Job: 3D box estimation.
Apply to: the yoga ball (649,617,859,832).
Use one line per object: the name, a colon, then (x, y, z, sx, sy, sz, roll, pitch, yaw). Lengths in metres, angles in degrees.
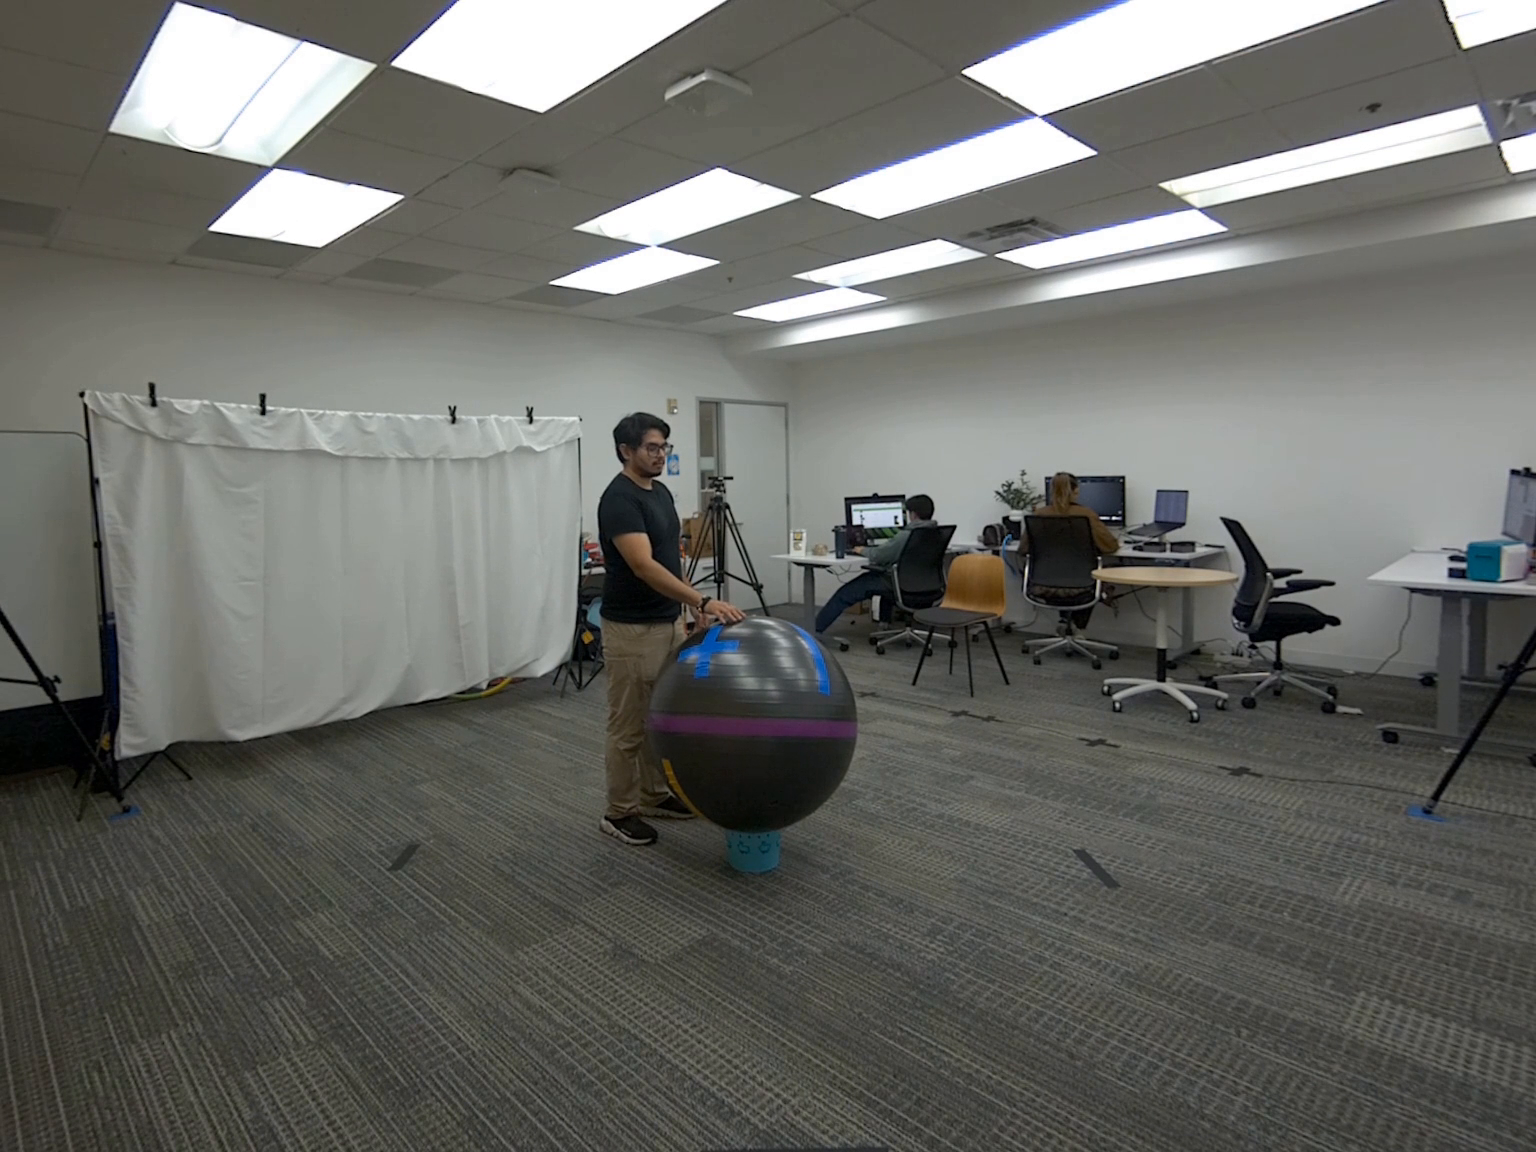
yoga ball: (-0.057, 0.529, 3.096, 0.757, 0.755, 0.762, -1, 5, -2)
